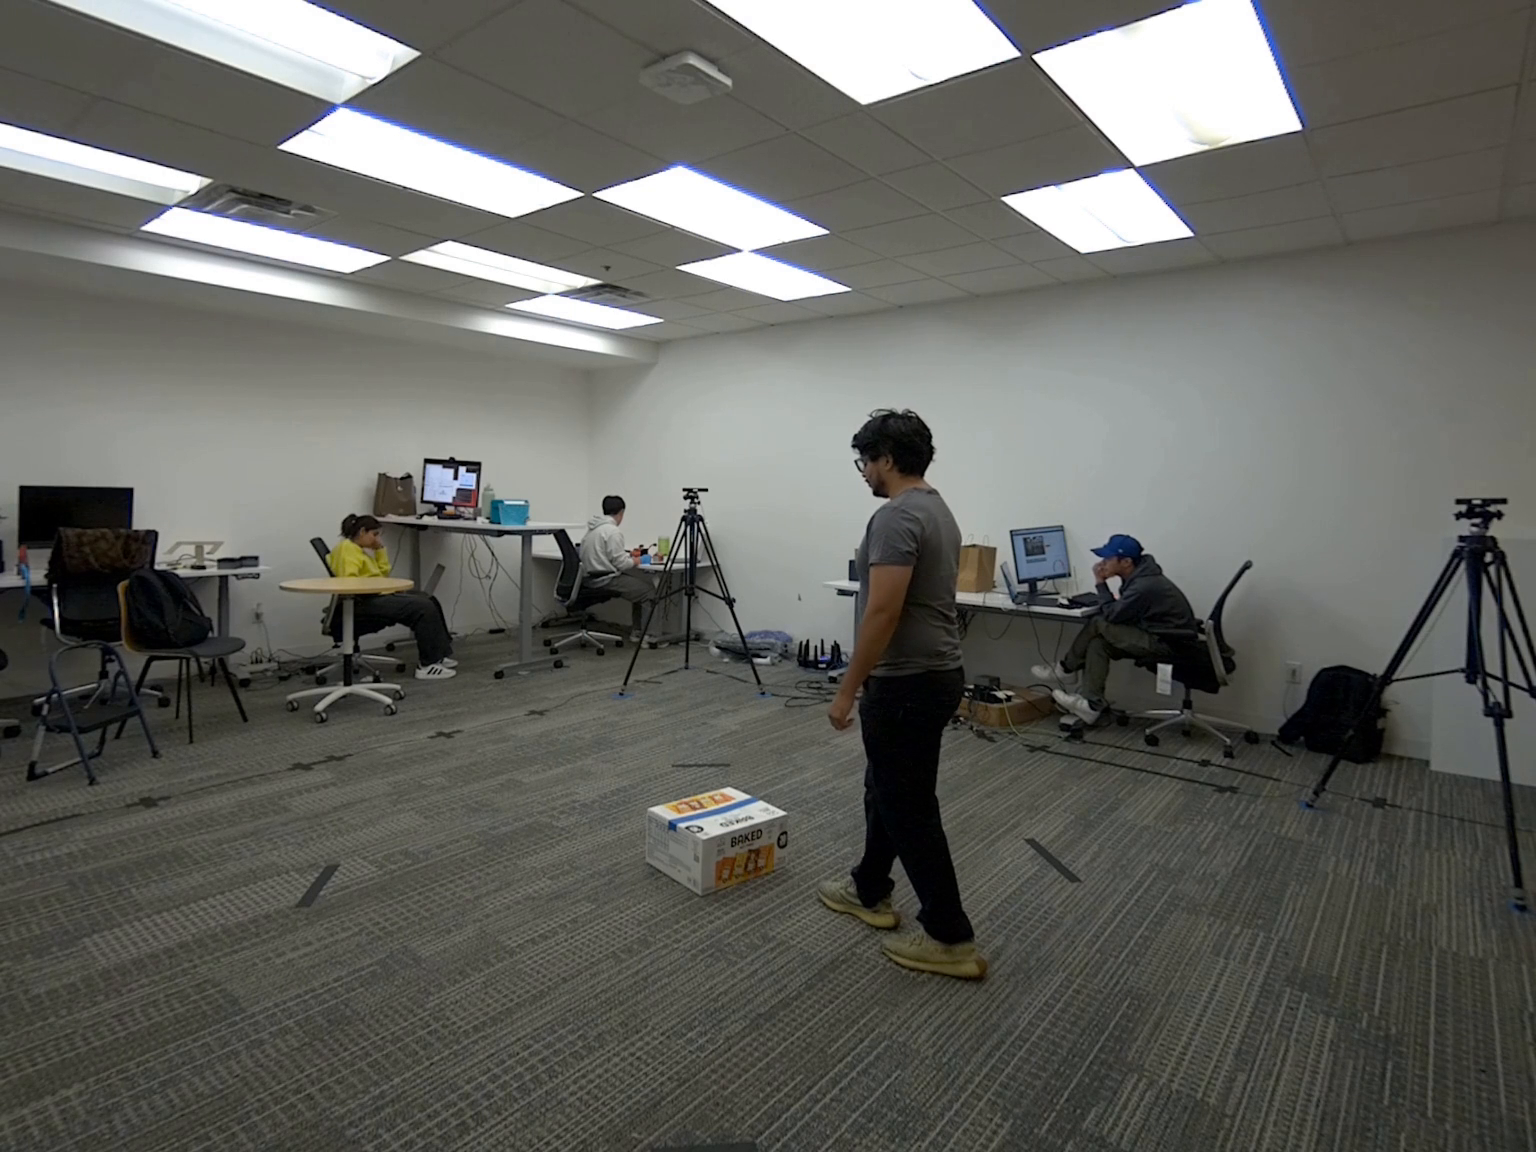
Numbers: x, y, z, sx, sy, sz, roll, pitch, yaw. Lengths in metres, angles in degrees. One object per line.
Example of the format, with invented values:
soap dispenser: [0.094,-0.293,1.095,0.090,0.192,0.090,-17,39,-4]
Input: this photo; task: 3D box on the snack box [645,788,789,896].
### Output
snack box: [-0.199,0.965,3.140,0.393,0.205,0.352,-3,6,-41]
